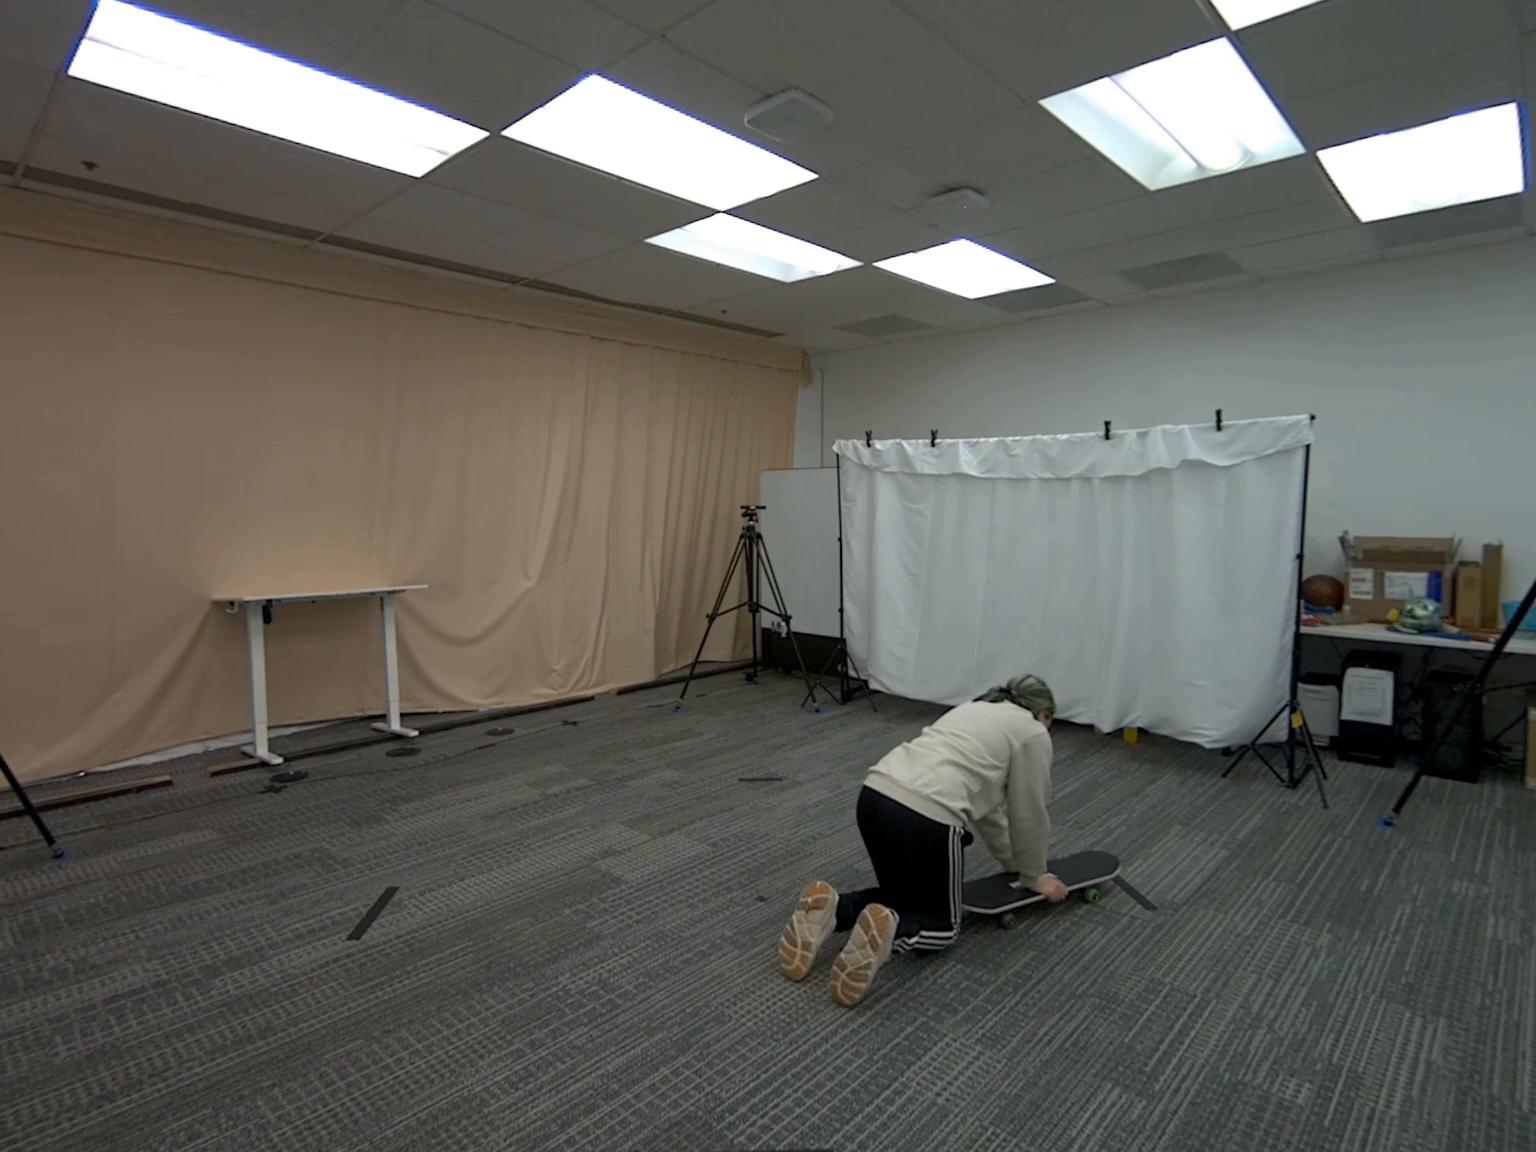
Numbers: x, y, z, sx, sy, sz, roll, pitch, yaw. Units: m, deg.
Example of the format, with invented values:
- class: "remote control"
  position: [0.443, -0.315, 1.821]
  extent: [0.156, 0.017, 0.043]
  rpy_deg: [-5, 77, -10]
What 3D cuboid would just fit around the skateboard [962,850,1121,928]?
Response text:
- class: "skateboard"
  position: [0.933, 1.095, 2.923]
  extent: [0.766, 0.110, 0.199]
  rpy_deg: [-2, 5, -27]
